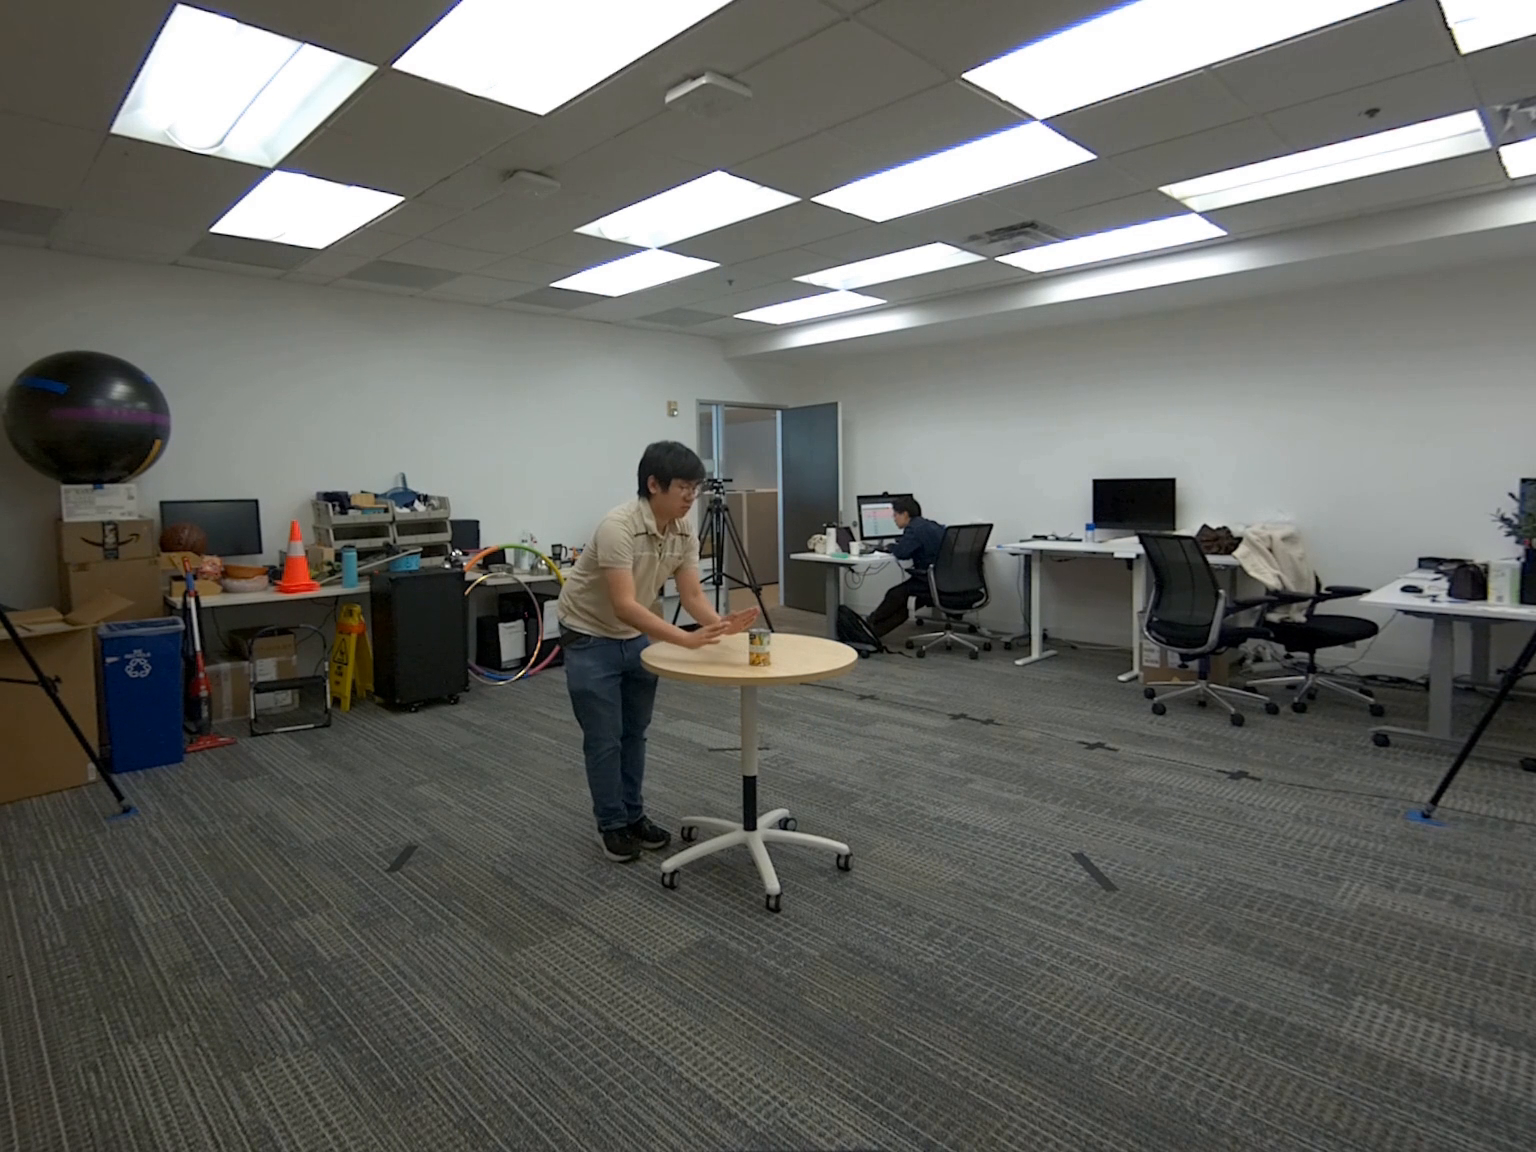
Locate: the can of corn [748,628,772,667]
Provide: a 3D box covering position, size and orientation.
[{"bbox_3d":[-0.031,0.235,2.835,0.074,0.110,0.074,1,5,-2],"label":"can of corn"}]
